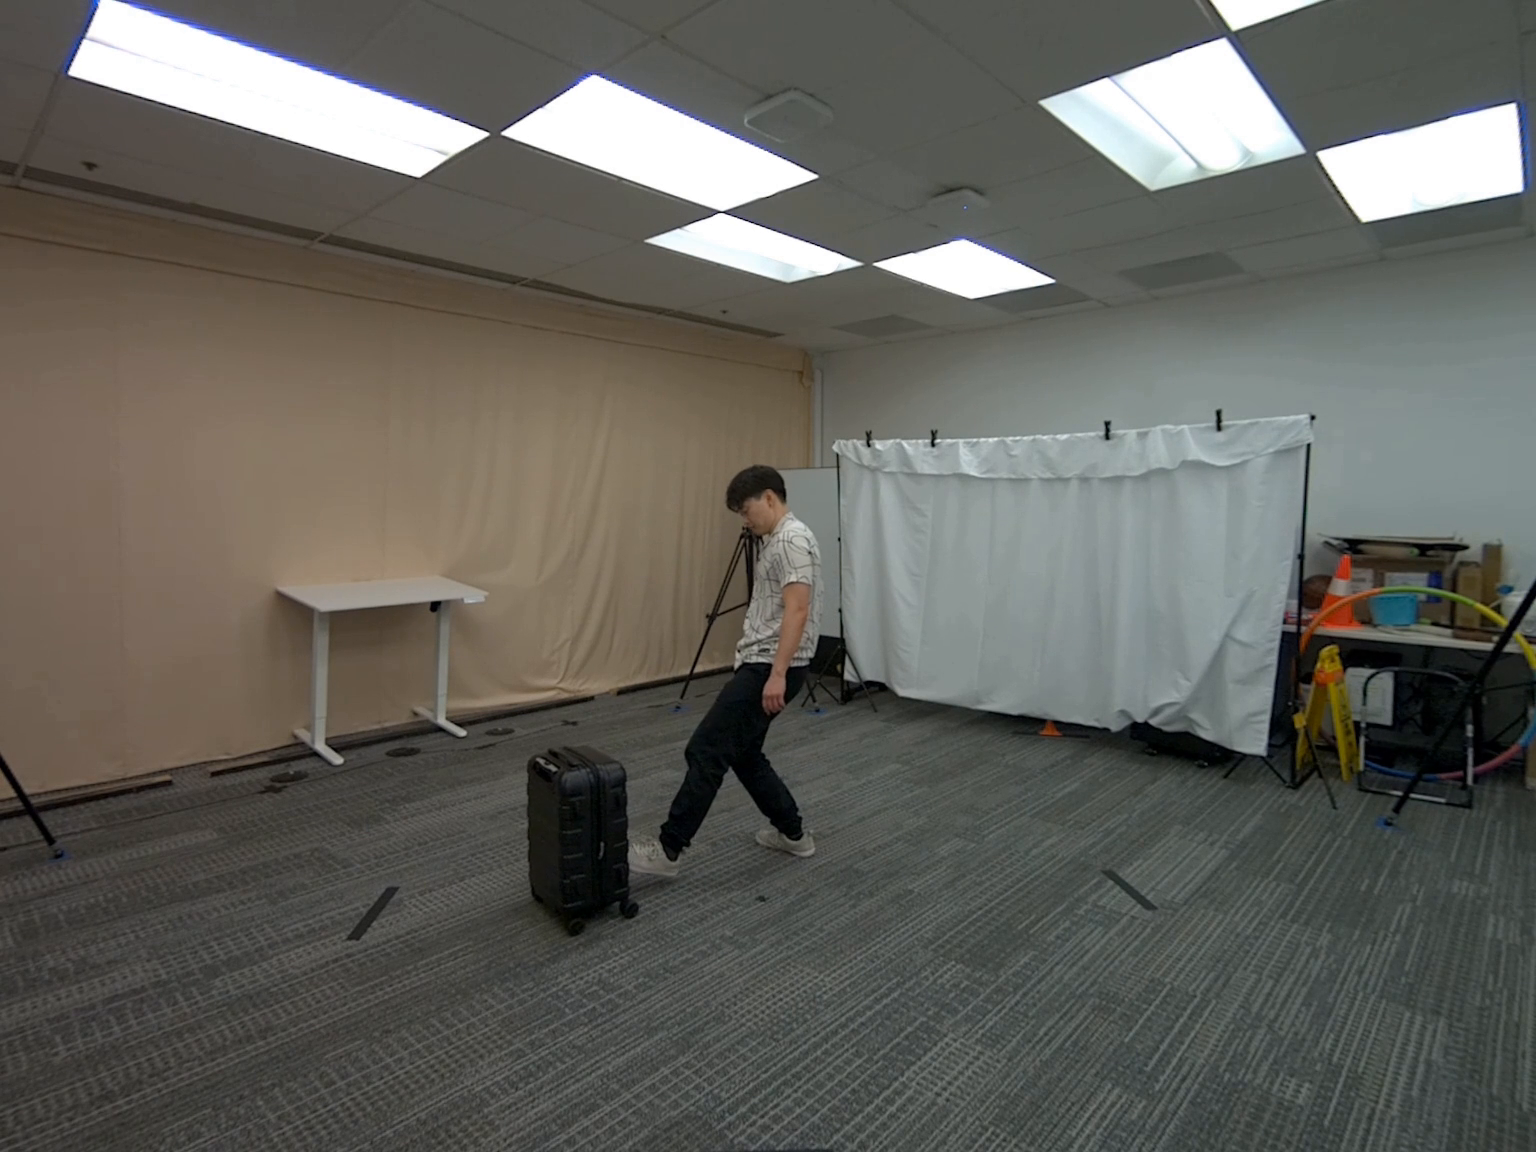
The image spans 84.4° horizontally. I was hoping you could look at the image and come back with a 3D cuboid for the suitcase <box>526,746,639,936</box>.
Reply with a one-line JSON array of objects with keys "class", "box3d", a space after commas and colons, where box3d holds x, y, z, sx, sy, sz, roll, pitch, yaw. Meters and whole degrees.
[{"class": "suitcase", "box3d": [-0.655, 0.875, 2.906, 0.241, 0.548, 0.387, -2, 3, -36]}]
